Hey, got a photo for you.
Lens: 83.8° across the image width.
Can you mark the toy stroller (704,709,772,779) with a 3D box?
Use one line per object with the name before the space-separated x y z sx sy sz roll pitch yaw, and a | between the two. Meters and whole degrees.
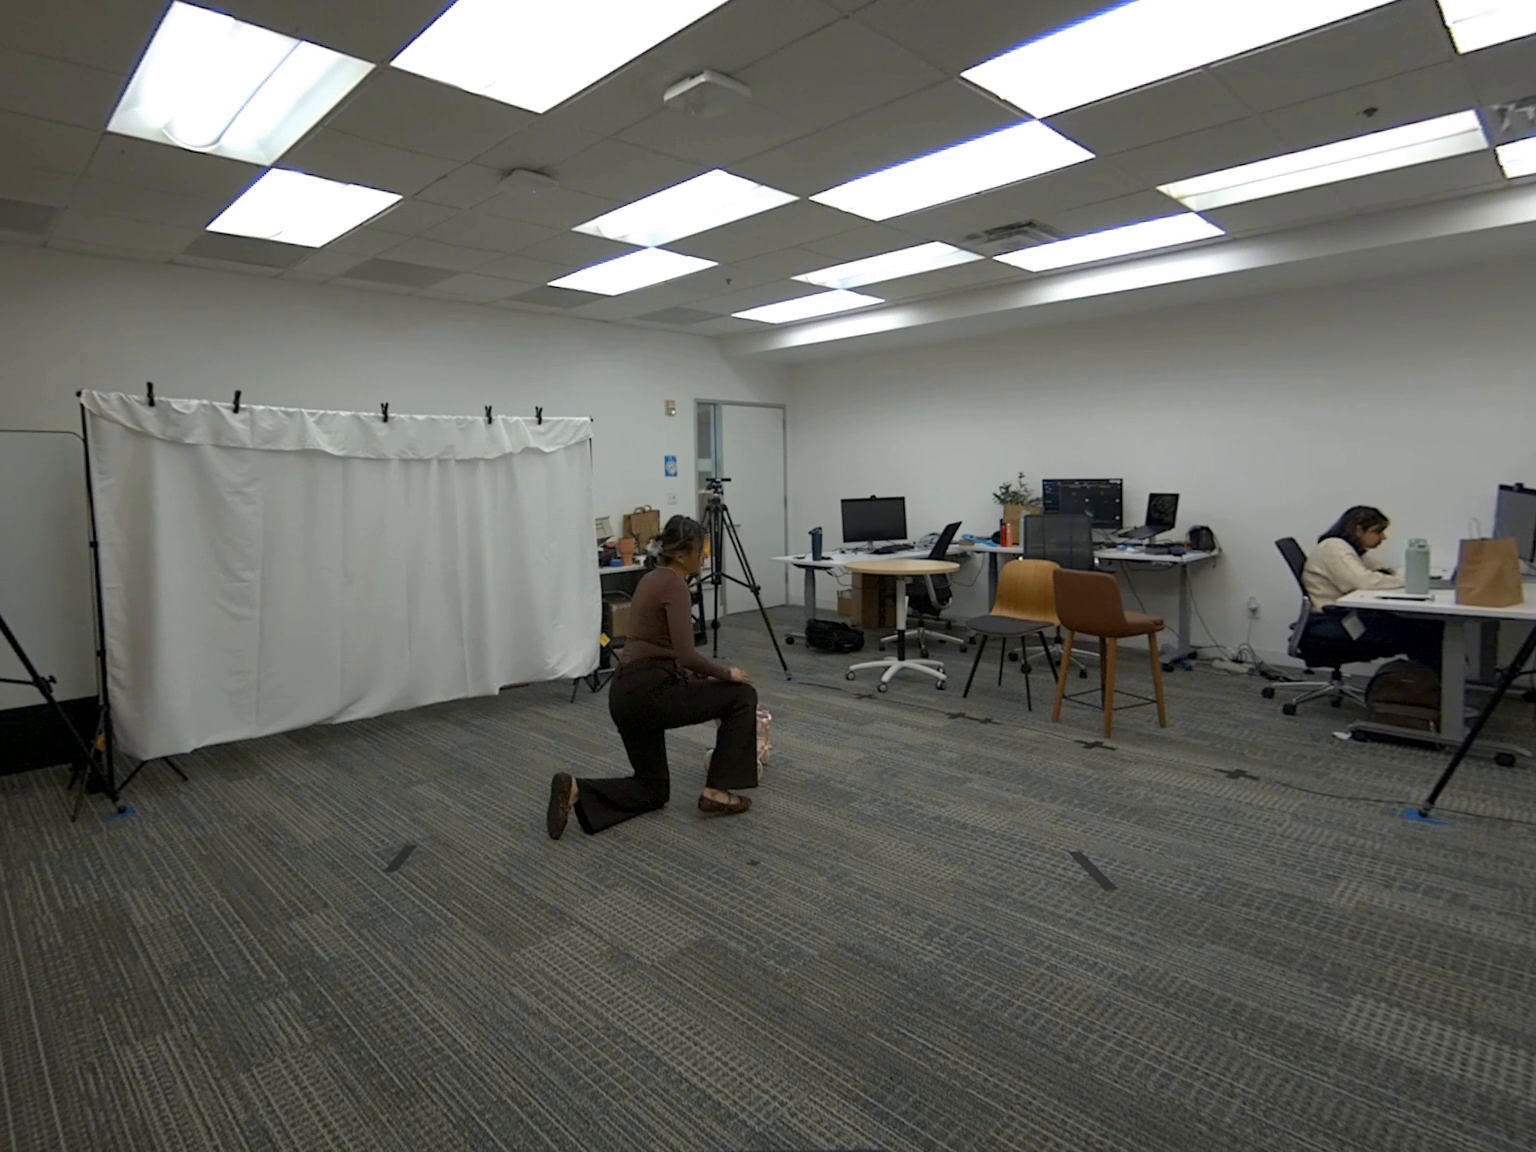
toy stroller | -0.126 0.718 4.034 0.290 0.525 0.337 3 23 41
